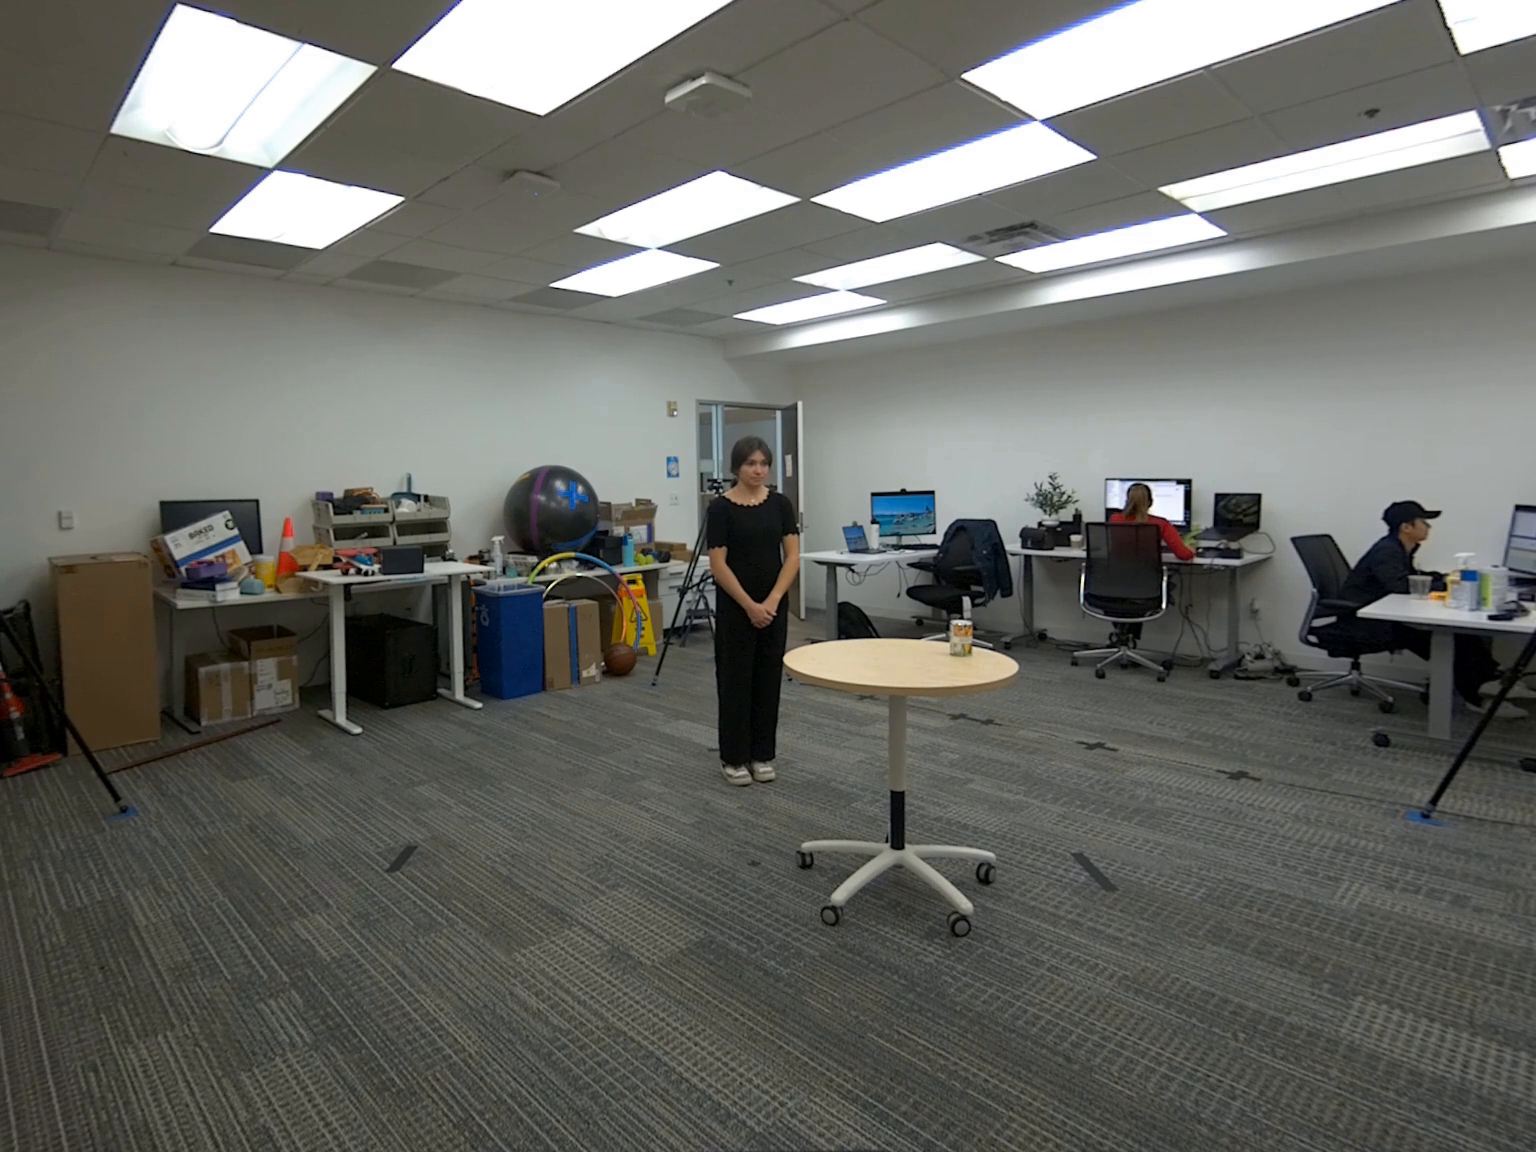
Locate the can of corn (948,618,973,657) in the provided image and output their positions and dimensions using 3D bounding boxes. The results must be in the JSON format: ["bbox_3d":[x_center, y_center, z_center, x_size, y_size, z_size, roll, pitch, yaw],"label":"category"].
[{"bbox_3d":[0.661,0.215,2.936,0.074,0.110,0.074,2,5,-2],"label":"can of corn"}]
